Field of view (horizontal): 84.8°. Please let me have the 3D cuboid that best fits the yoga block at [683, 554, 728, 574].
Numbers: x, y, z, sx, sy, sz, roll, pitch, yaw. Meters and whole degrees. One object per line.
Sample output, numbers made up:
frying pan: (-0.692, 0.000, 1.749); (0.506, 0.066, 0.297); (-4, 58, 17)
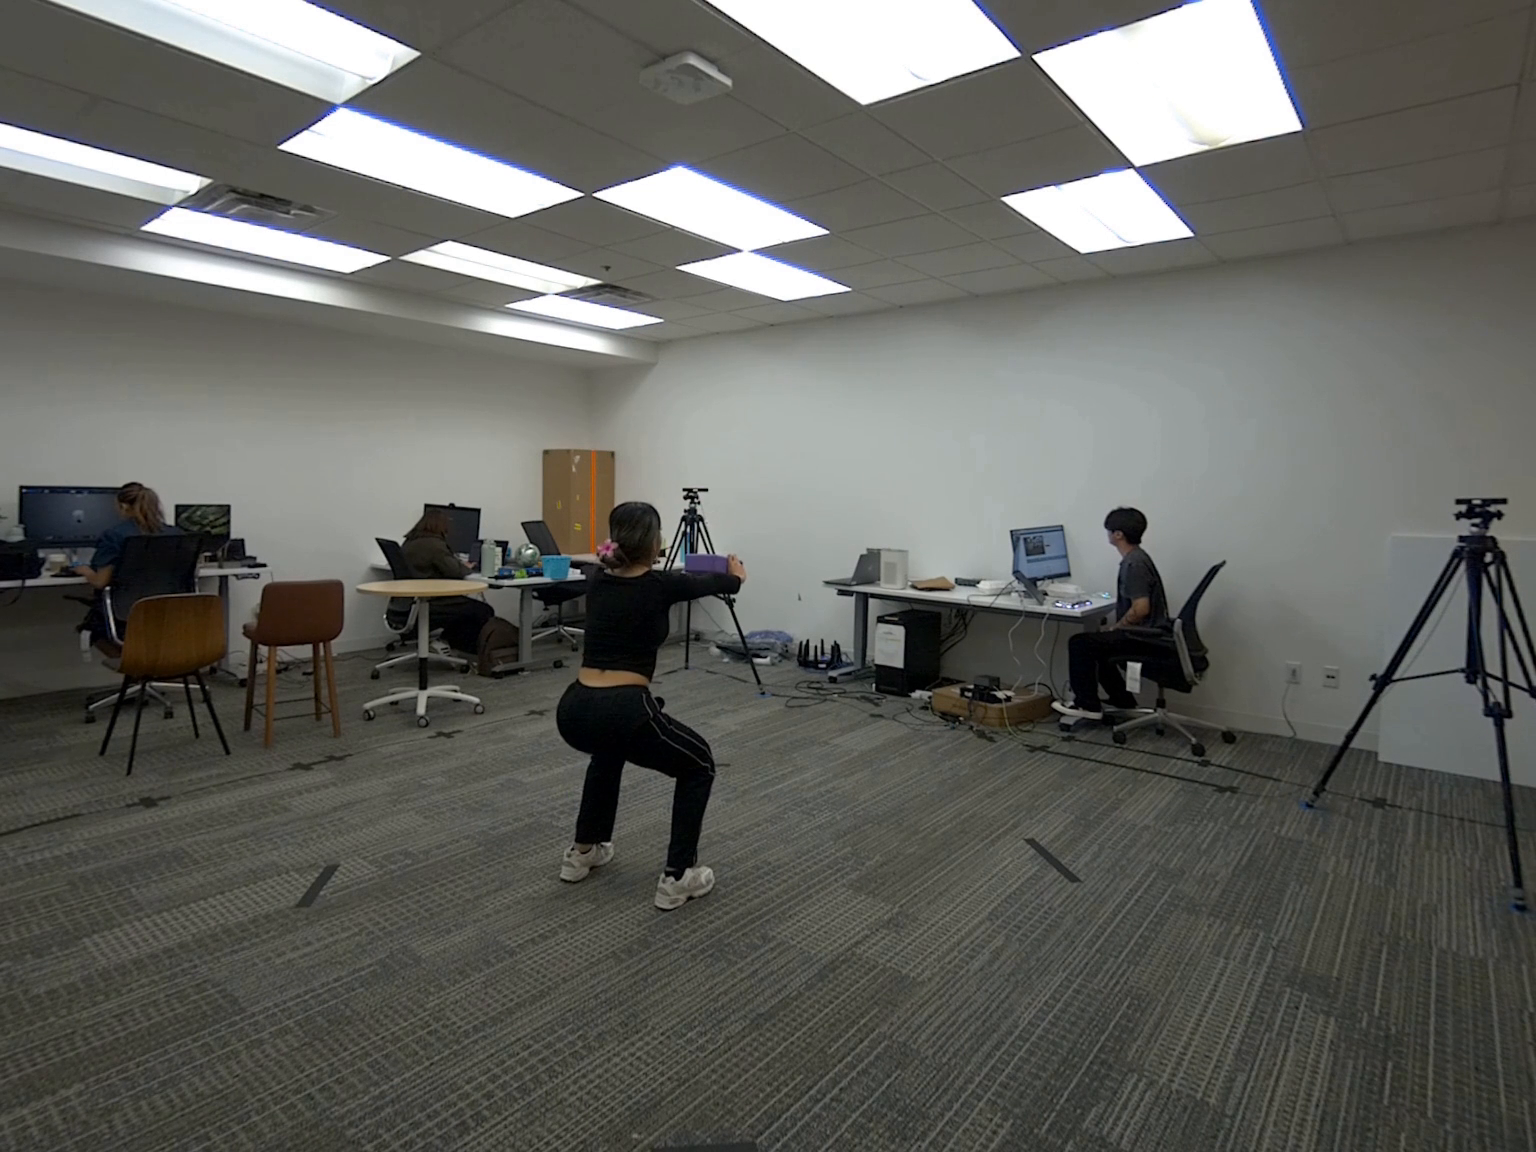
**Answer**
yoga block: (-0.235, -0.054, 3.490); (0.153, 0.077, 0.223); (2, -3, 25)
